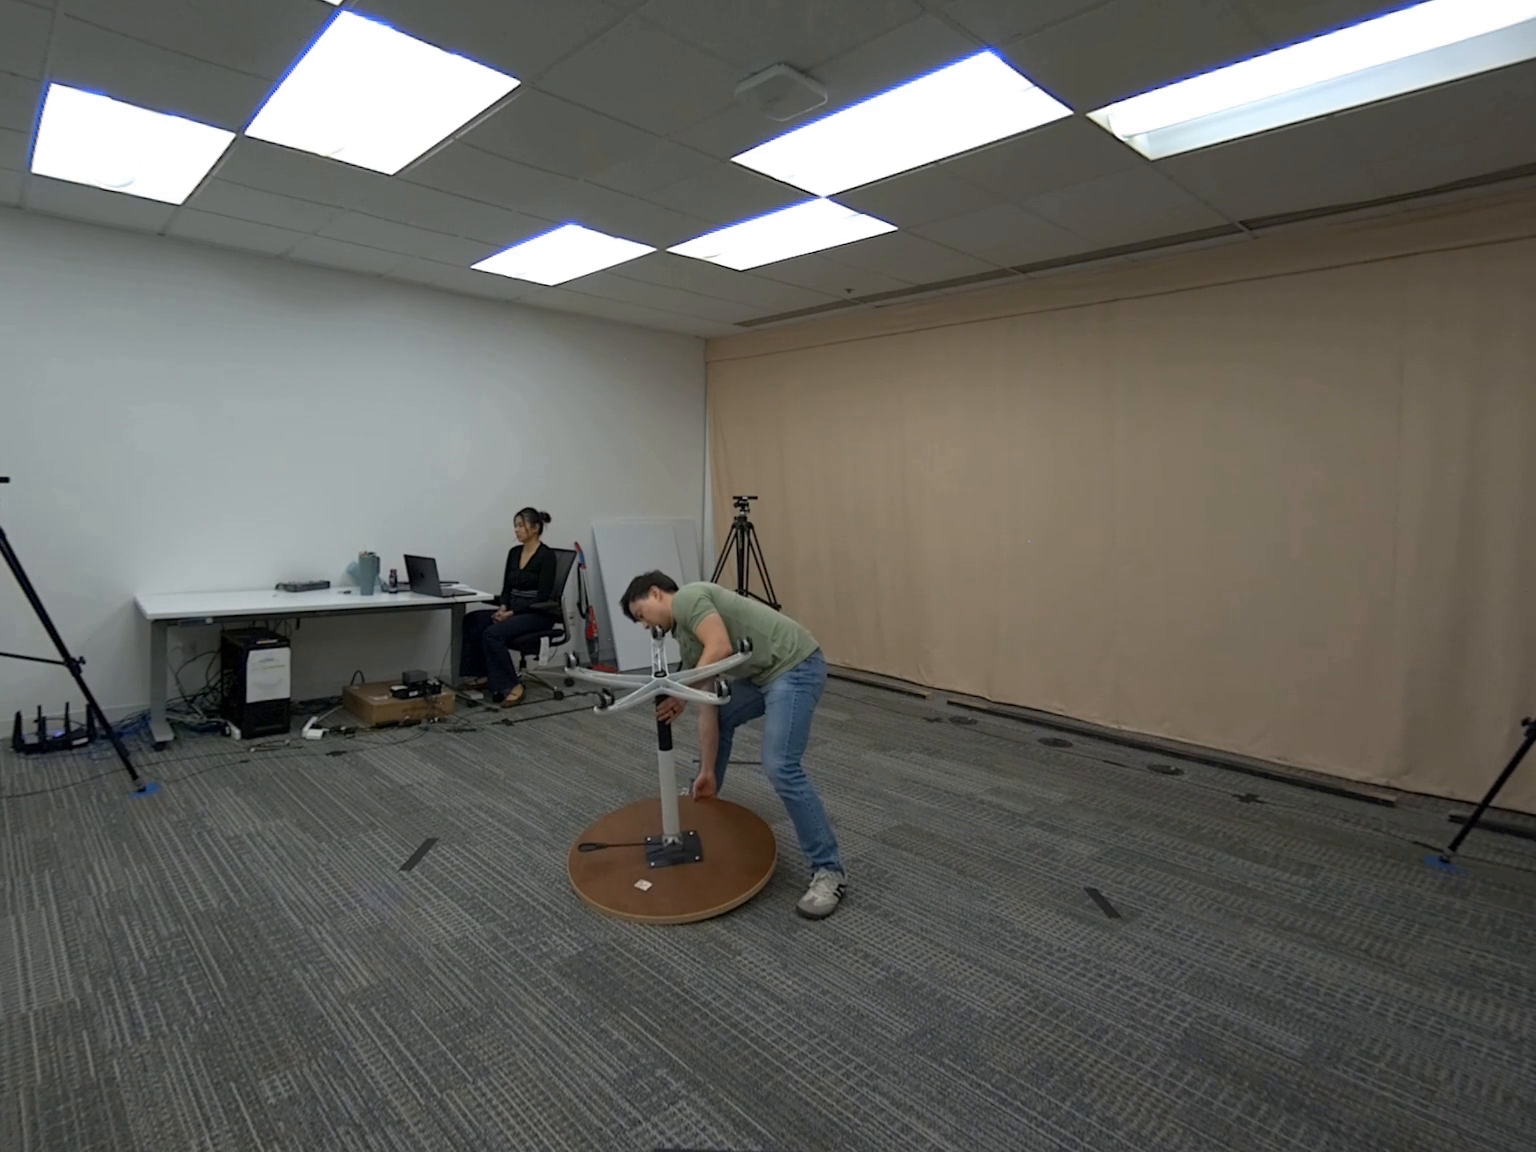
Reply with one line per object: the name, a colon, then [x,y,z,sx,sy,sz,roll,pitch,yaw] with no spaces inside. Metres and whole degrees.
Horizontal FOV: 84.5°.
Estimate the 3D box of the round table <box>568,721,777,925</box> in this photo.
round table: [-0.374,0.657,3.008,0.764,0.785,0.772,-2,14,-1]
